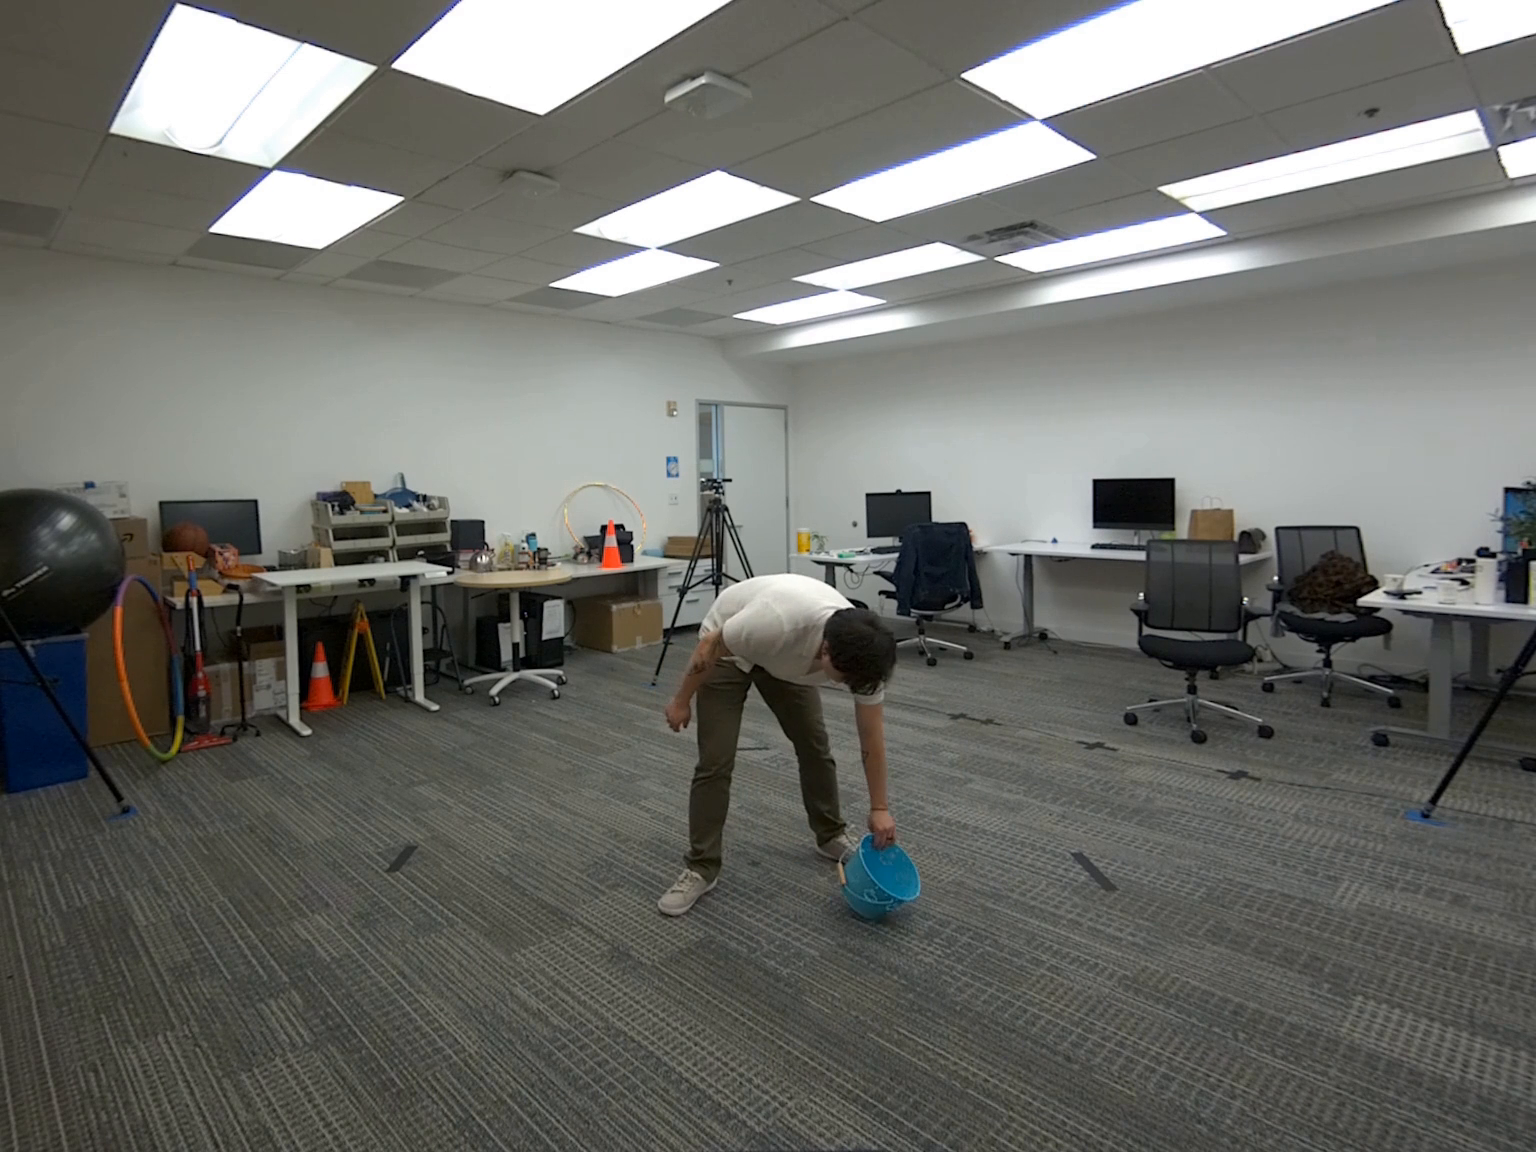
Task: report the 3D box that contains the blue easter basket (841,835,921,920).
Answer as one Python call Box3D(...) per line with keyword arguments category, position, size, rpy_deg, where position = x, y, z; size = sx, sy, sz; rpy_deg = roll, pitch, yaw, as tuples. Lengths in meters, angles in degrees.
Box3D(category="blue easter basket", position=(0.355, 0.972, 2.721), size=(0.238, 0.155, 0.250), rpy_deg=(28, 27, -18))
